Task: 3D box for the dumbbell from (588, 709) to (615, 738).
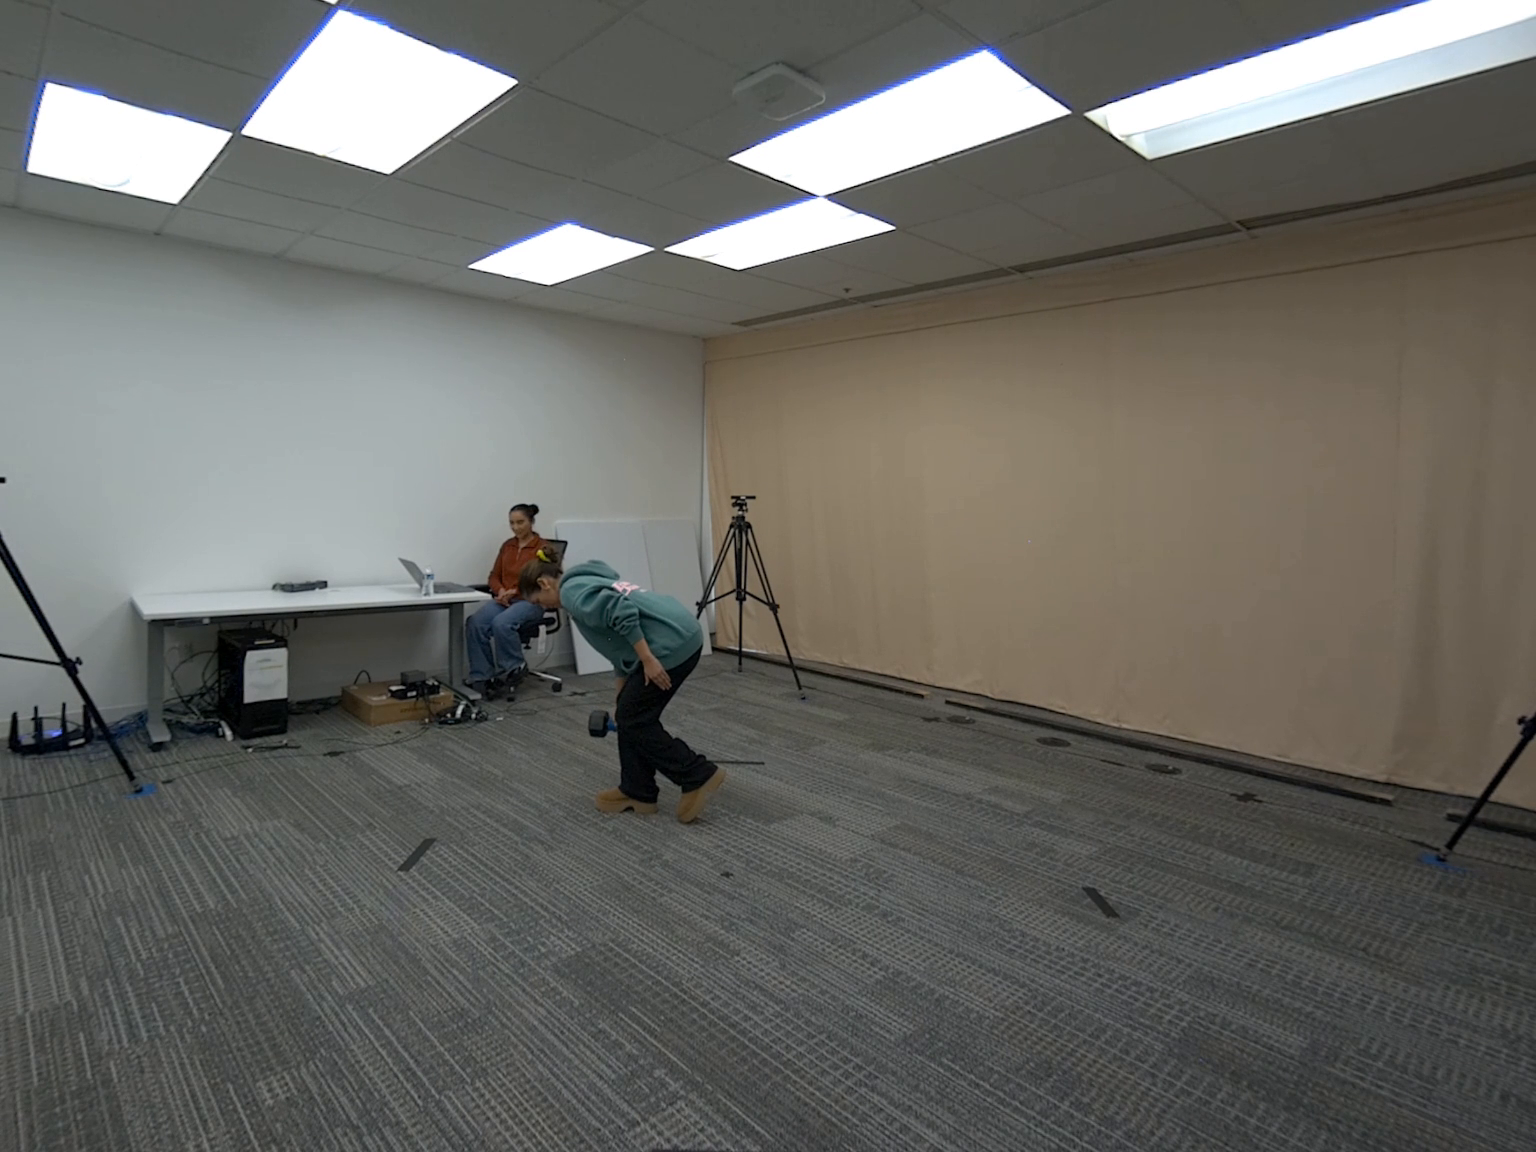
[{"bbox_3d":[-0.683,0.683,3.866,0.295,0.124,0.107,4,-17,4],"label":"dumbbell"}]
